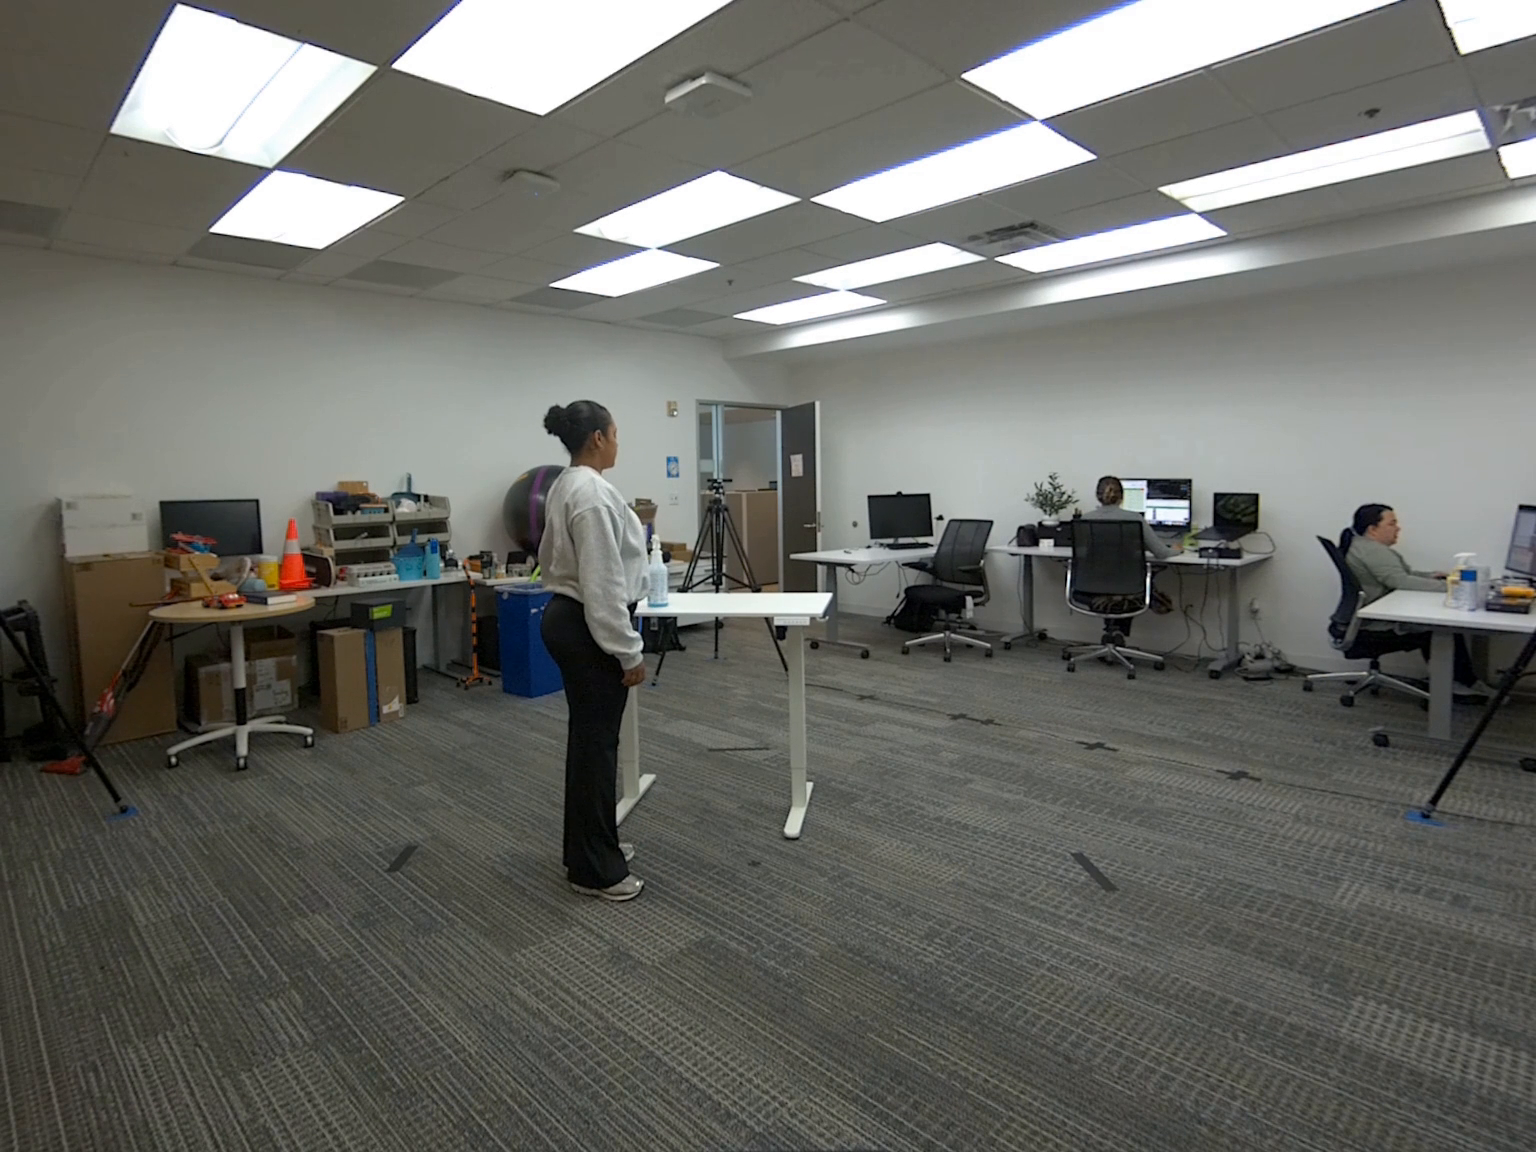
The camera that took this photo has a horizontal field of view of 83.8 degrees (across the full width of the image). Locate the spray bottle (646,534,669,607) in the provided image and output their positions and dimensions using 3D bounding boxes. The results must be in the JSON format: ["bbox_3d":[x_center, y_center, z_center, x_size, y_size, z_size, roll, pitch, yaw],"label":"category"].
[{"bbox_3d":[-0.461,-0.021,3.524,0.089,0.296,0.088,1,6,31],"label":"spray bottle"}]
